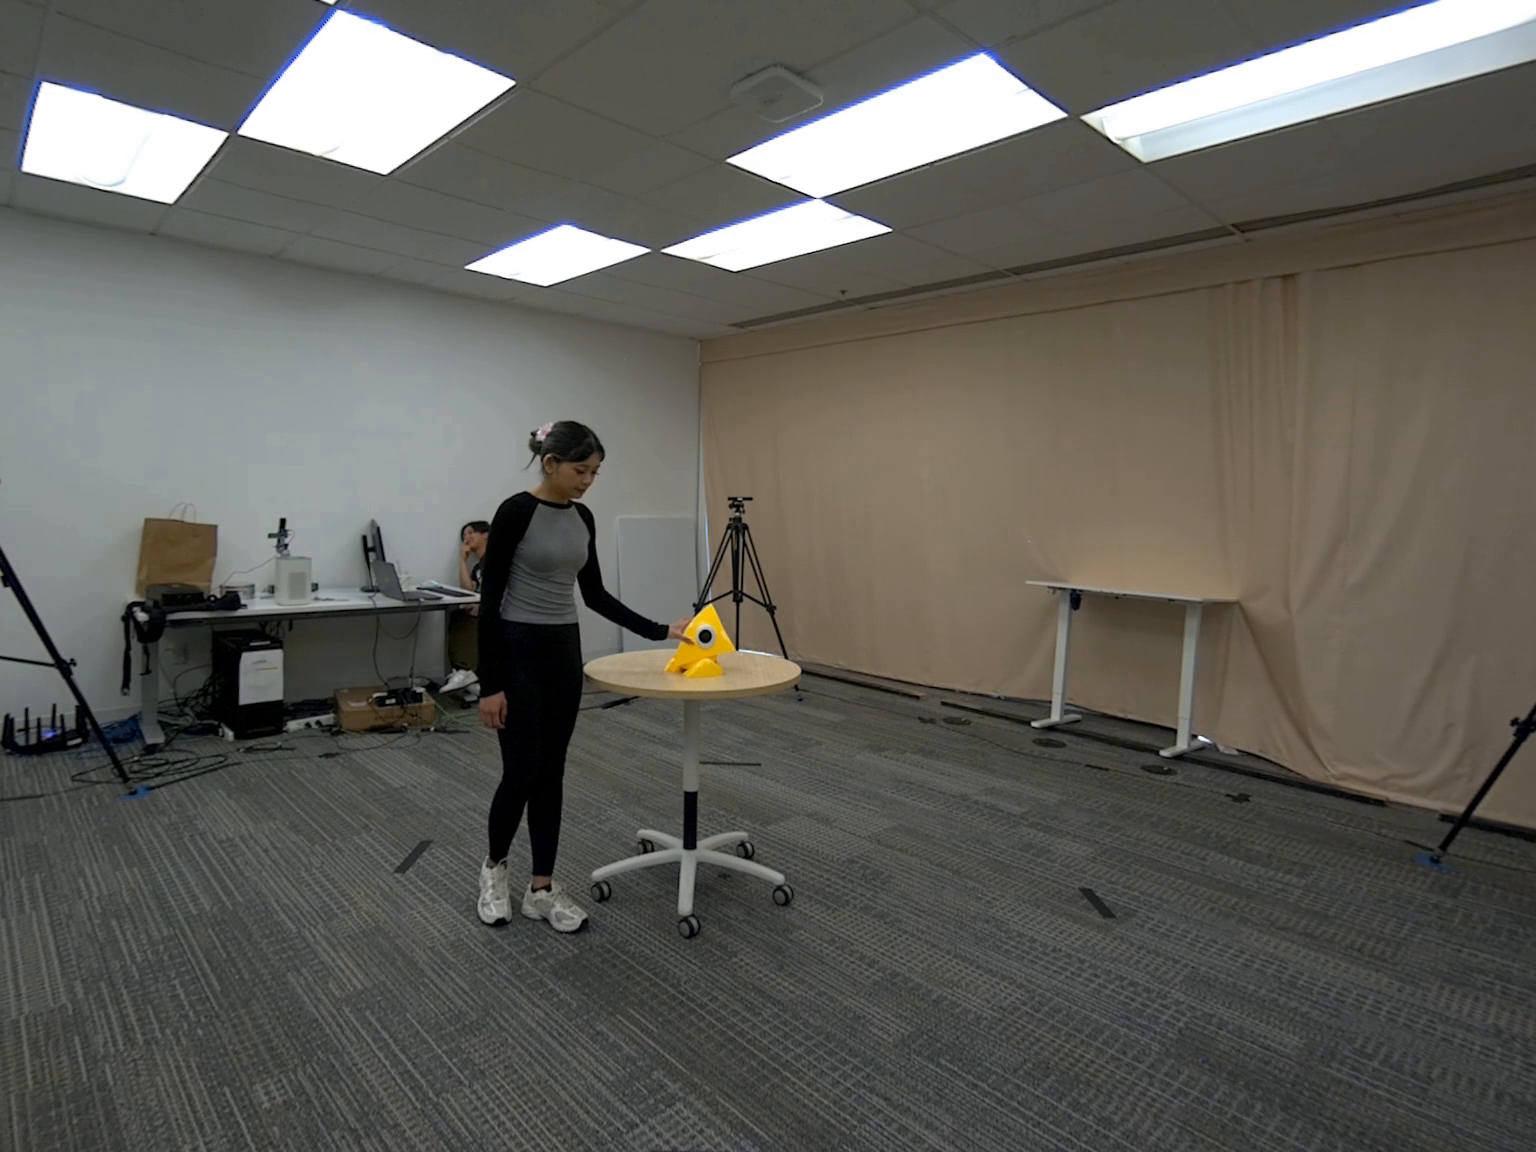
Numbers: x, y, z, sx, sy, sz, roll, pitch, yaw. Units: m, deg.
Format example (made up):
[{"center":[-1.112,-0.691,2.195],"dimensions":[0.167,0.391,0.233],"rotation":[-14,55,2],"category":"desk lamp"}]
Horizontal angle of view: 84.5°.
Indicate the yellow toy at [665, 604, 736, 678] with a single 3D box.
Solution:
[{"center":[-0.251,0.218,2.902],"dimensions":[0.189,0.230,0.210],"rotation":[-3,5,-39],"category":"yellow toy"}]
